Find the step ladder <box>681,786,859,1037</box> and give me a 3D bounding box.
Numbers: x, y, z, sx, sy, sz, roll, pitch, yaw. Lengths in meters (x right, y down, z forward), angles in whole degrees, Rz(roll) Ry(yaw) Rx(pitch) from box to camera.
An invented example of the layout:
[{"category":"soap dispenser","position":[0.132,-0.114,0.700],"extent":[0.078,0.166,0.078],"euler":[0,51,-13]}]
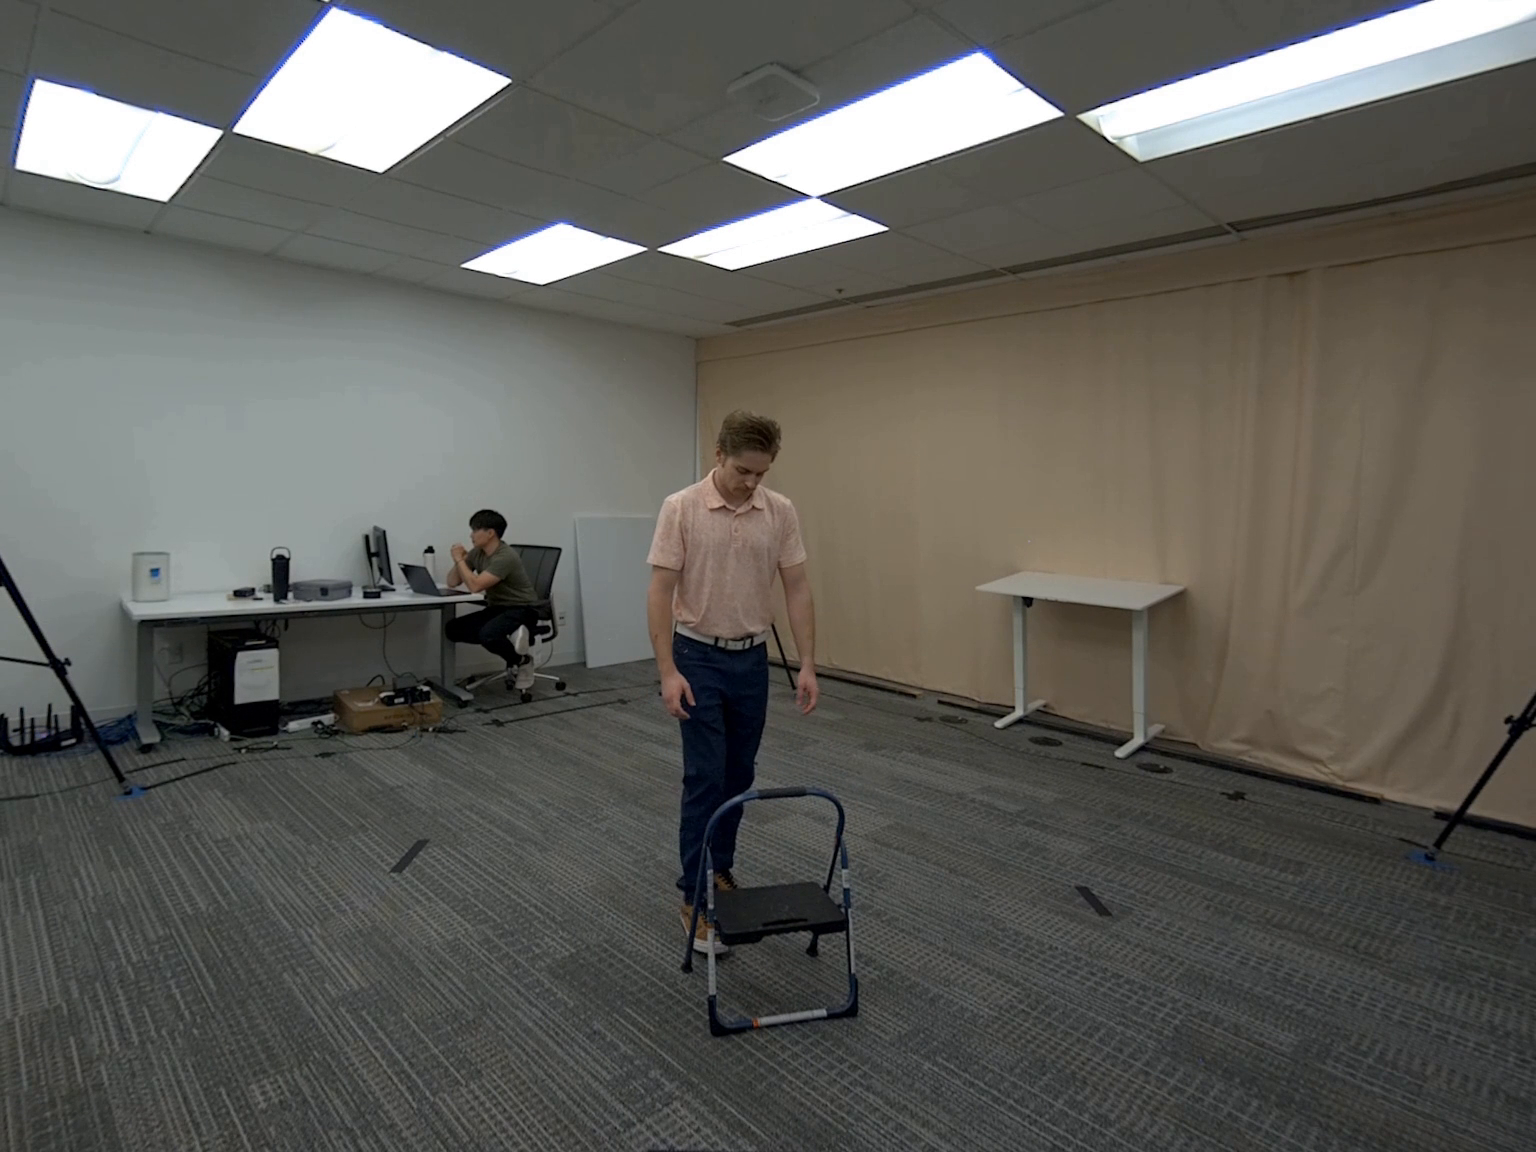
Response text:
[{"category":"step ladder","position":[0.000,0.874,2.363],"extent":[0.425,0.605,0.355],"euler":[1,3,-17]}]
